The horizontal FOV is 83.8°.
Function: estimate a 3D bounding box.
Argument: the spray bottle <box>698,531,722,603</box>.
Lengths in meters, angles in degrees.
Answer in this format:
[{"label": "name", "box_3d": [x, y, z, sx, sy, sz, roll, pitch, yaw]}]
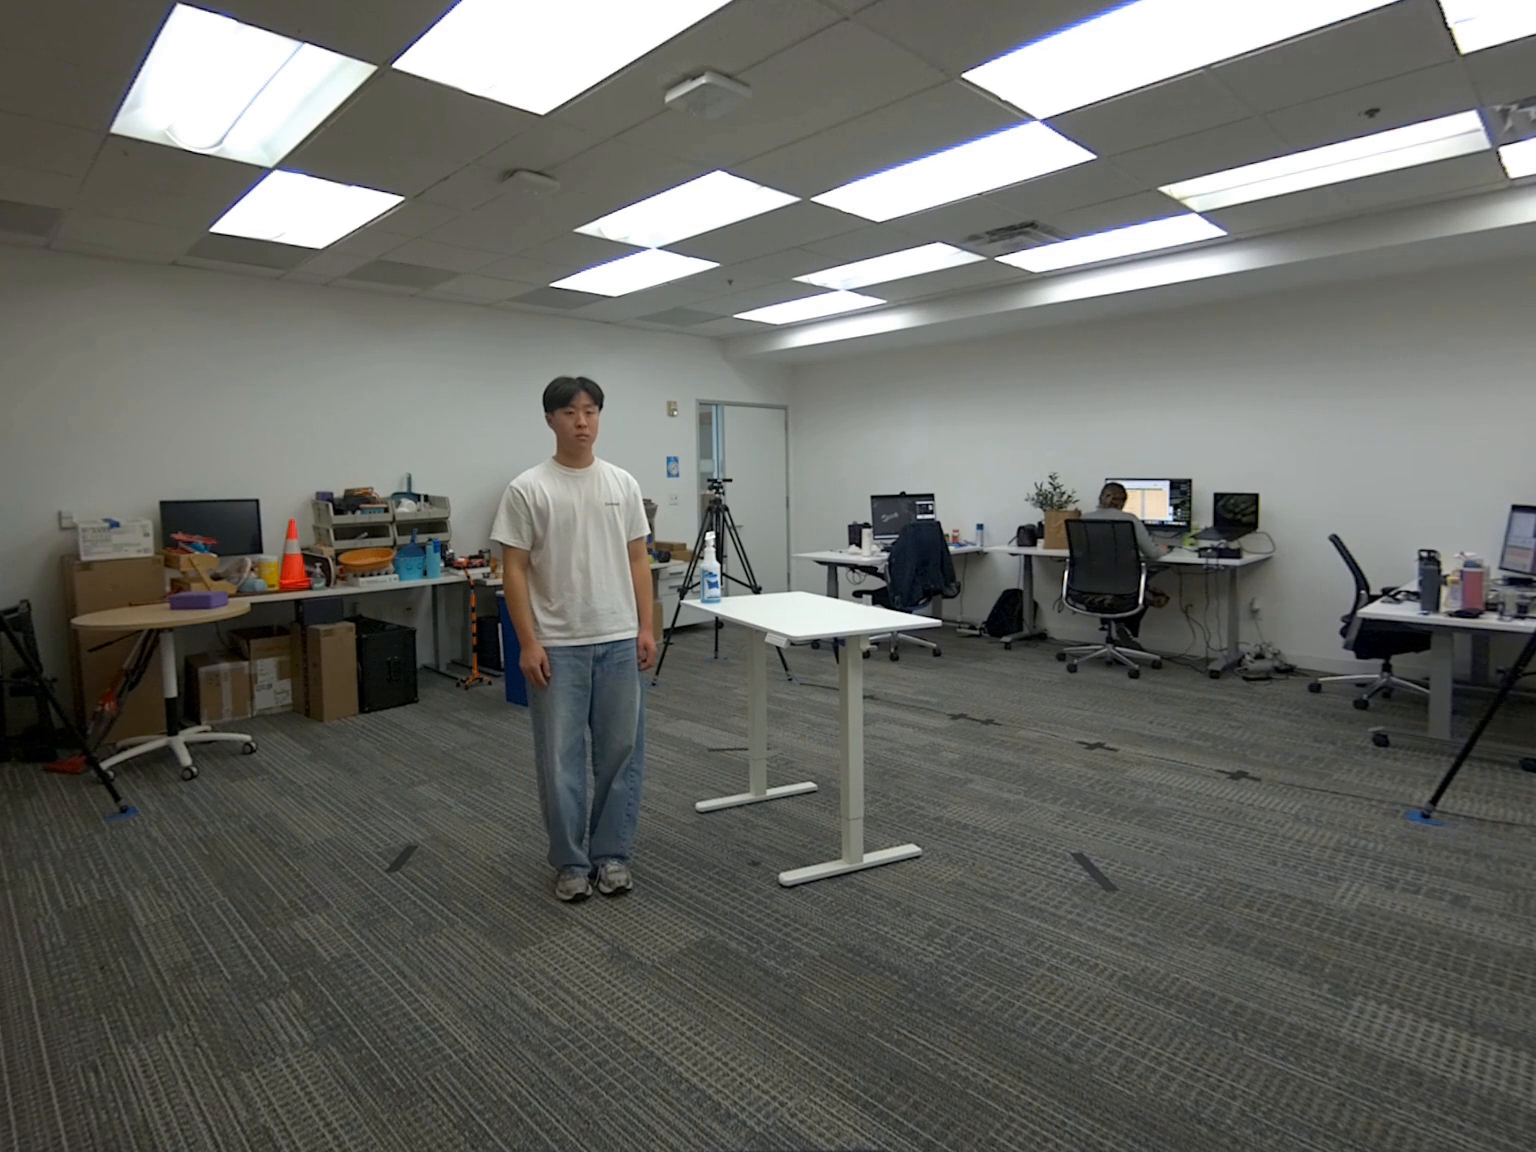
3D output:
[{"label": "spray bottle", "box_3d": [-0.242, -0.035, 3.608, 0.089, 0.297, 0.087, 1, 3, 41]}]
